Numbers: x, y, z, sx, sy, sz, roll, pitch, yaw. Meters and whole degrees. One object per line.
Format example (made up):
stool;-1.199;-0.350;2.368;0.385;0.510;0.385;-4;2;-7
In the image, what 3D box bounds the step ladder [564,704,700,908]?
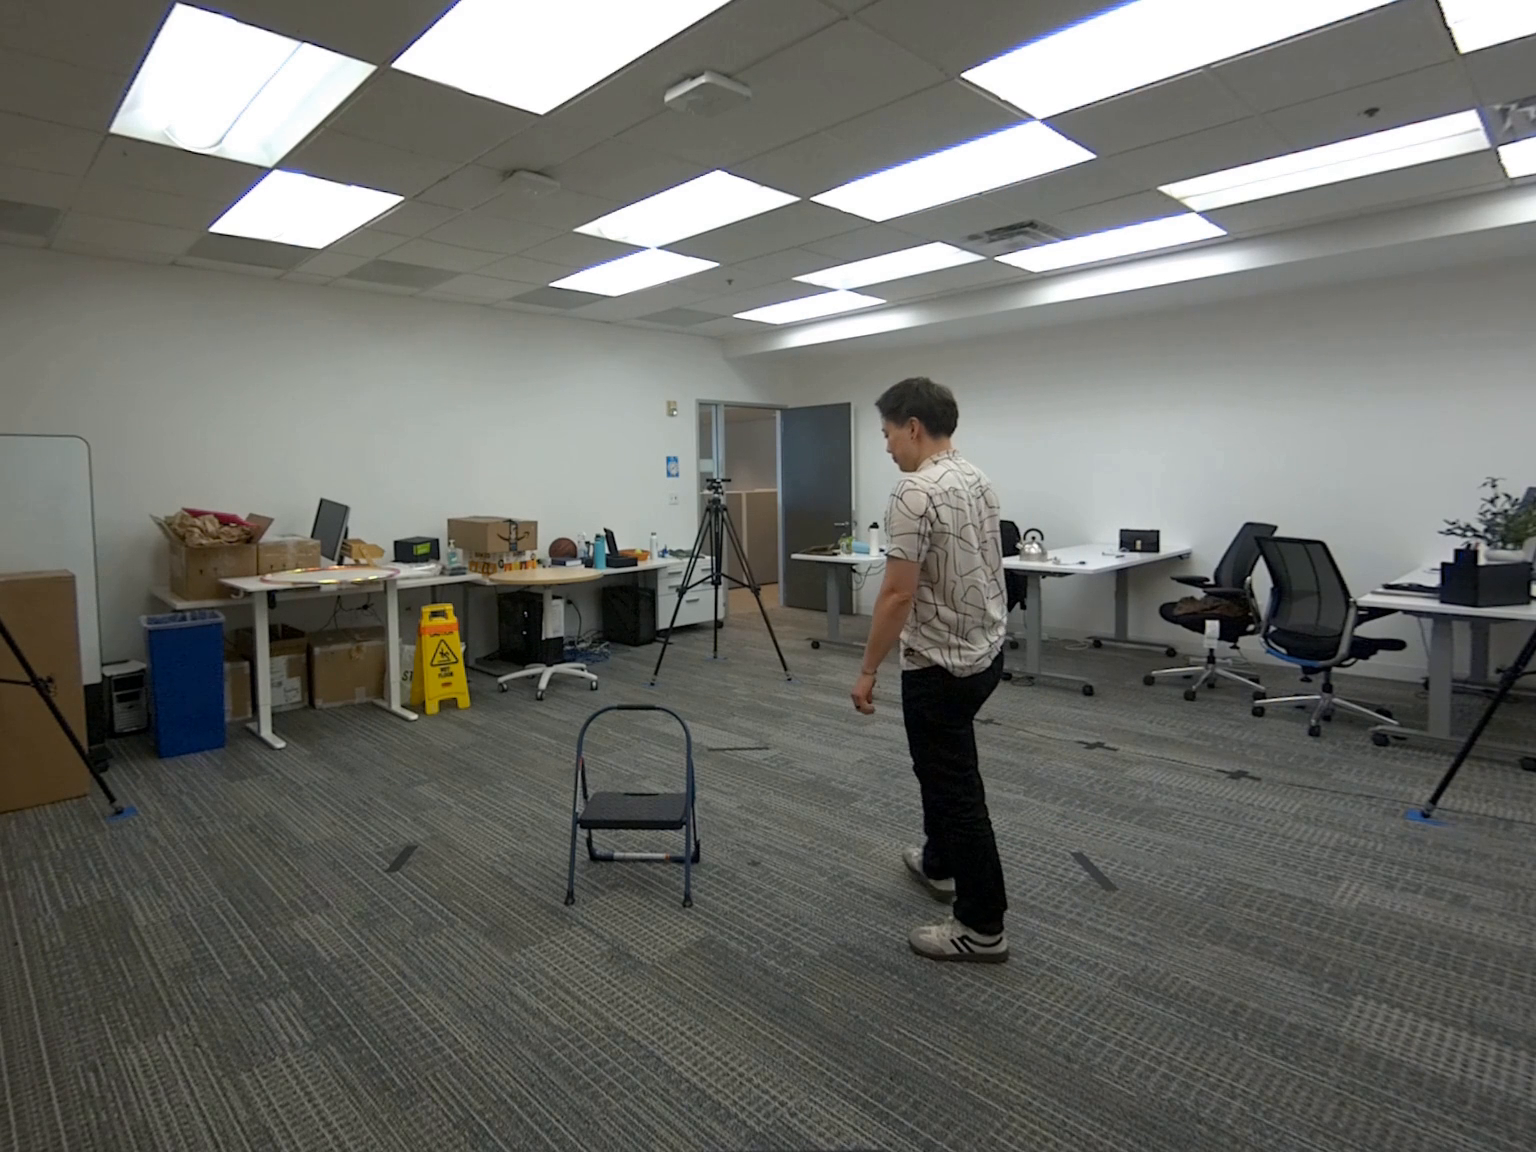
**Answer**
step ladder;-0.464;0.767;2.964;0.432;0.603;0.349;-1;5;3
